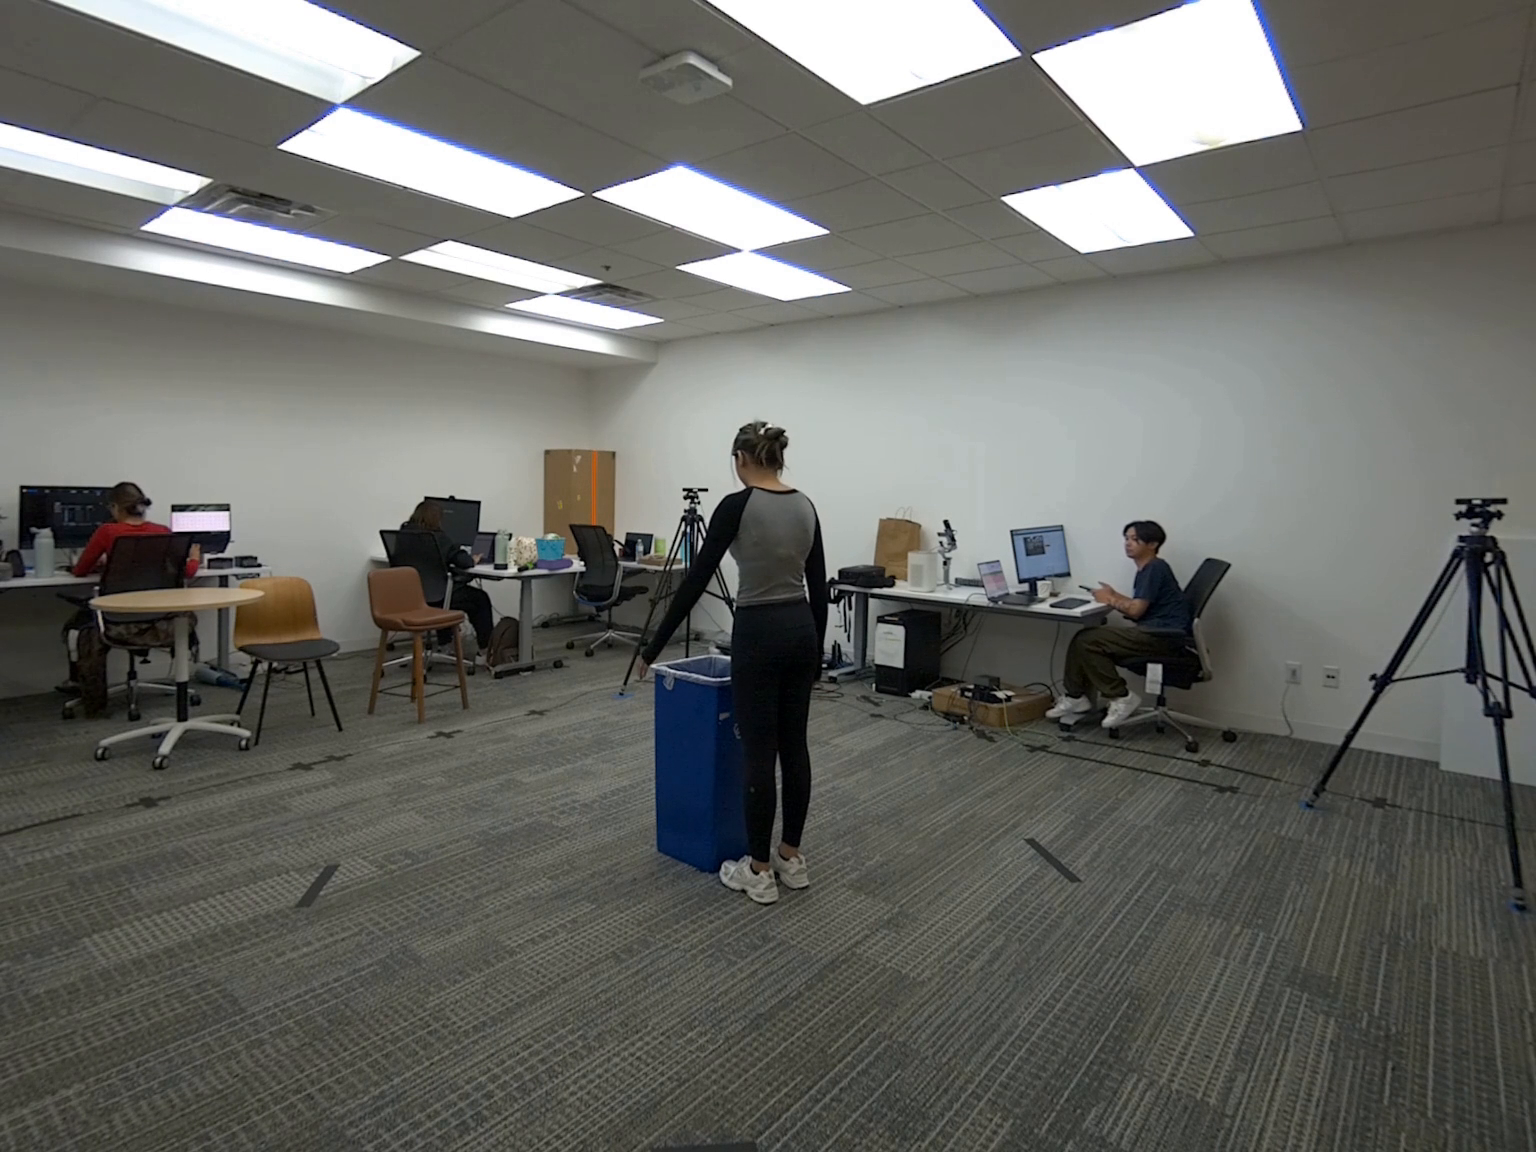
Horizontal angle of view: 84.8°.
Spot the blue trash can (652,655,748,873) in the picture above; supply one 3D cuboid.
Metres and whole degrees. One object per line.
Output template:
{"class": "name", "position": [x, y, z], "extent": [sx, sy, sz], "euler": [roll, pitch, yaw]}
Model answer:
{"class": "blue trash can", "position": [-0.223, 0.696, 3.268], "extent": [0.391, 0.711, 0.363], "euler": [4, 4, 40]}
